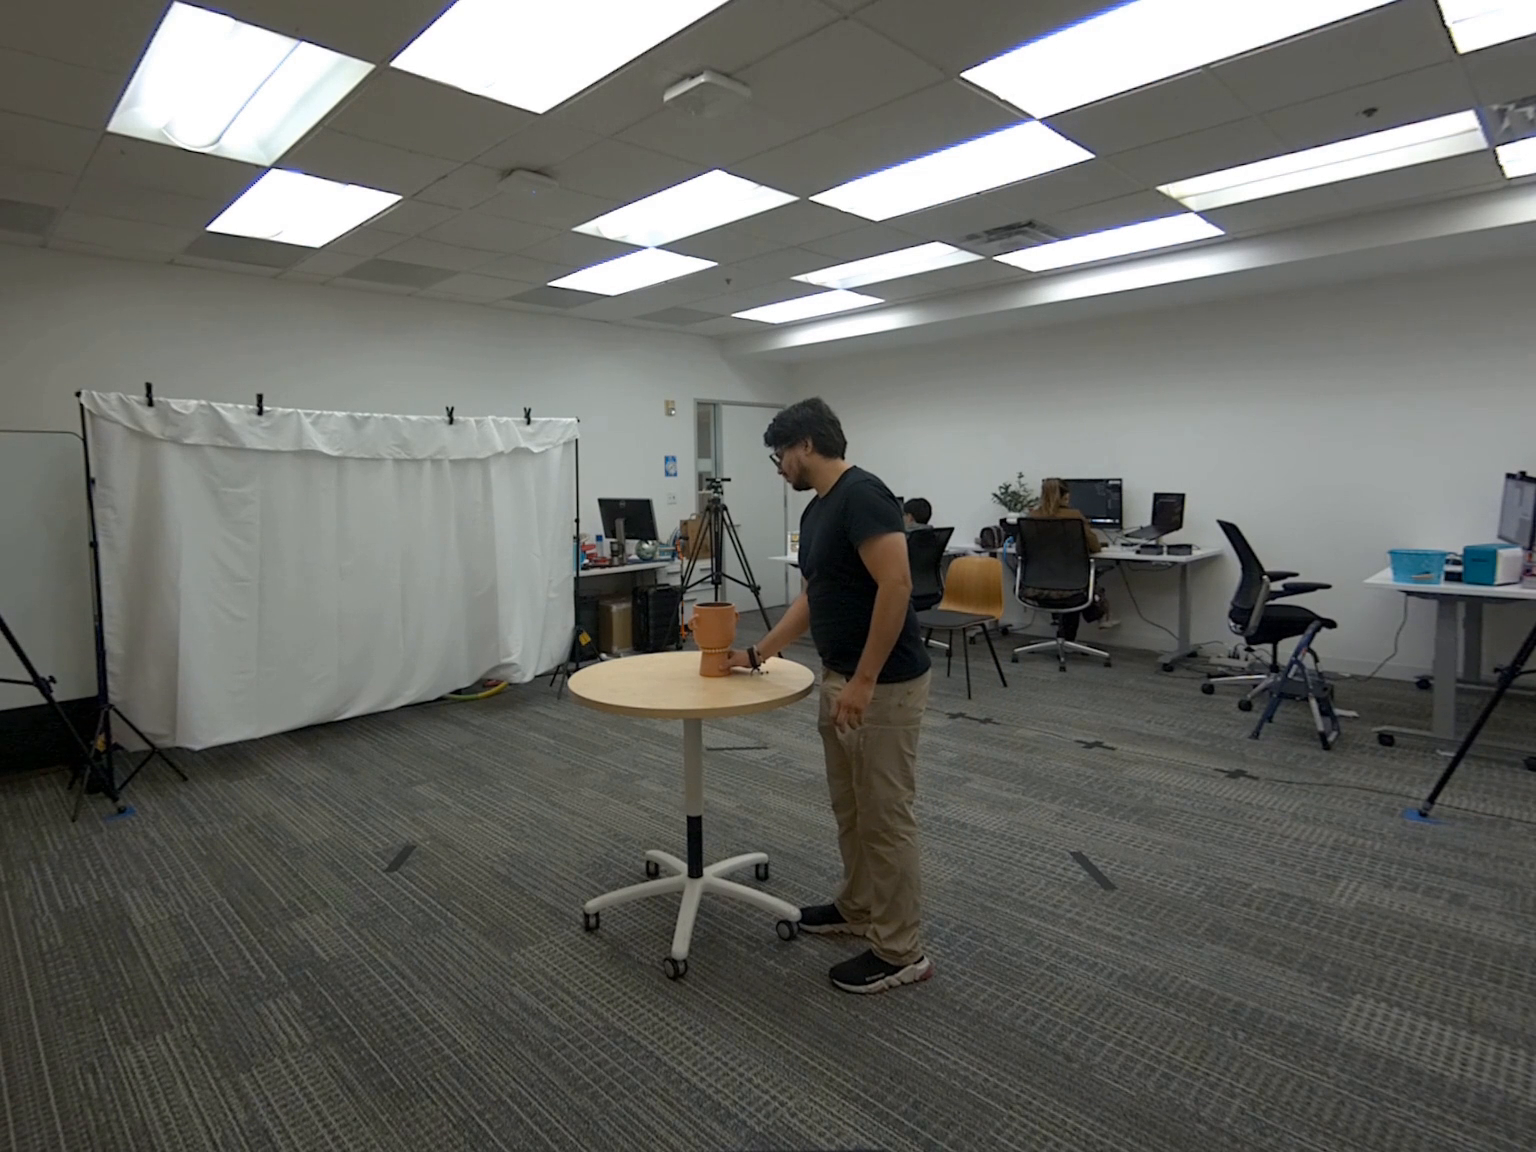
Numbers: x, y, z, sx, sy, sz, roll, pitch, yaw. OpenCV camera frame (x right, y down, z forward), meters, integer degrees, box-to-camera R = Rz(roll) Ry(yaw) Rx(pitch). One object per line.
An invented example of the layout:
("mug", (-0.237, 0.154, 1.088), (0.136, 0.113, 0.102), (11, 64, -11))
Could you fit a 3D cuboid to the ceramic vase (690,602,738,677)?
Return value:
("ceramic vase", (-0.151, 0.198, 2.694), (0.158, 0.218, 0.136), (-3, 8, -3))
